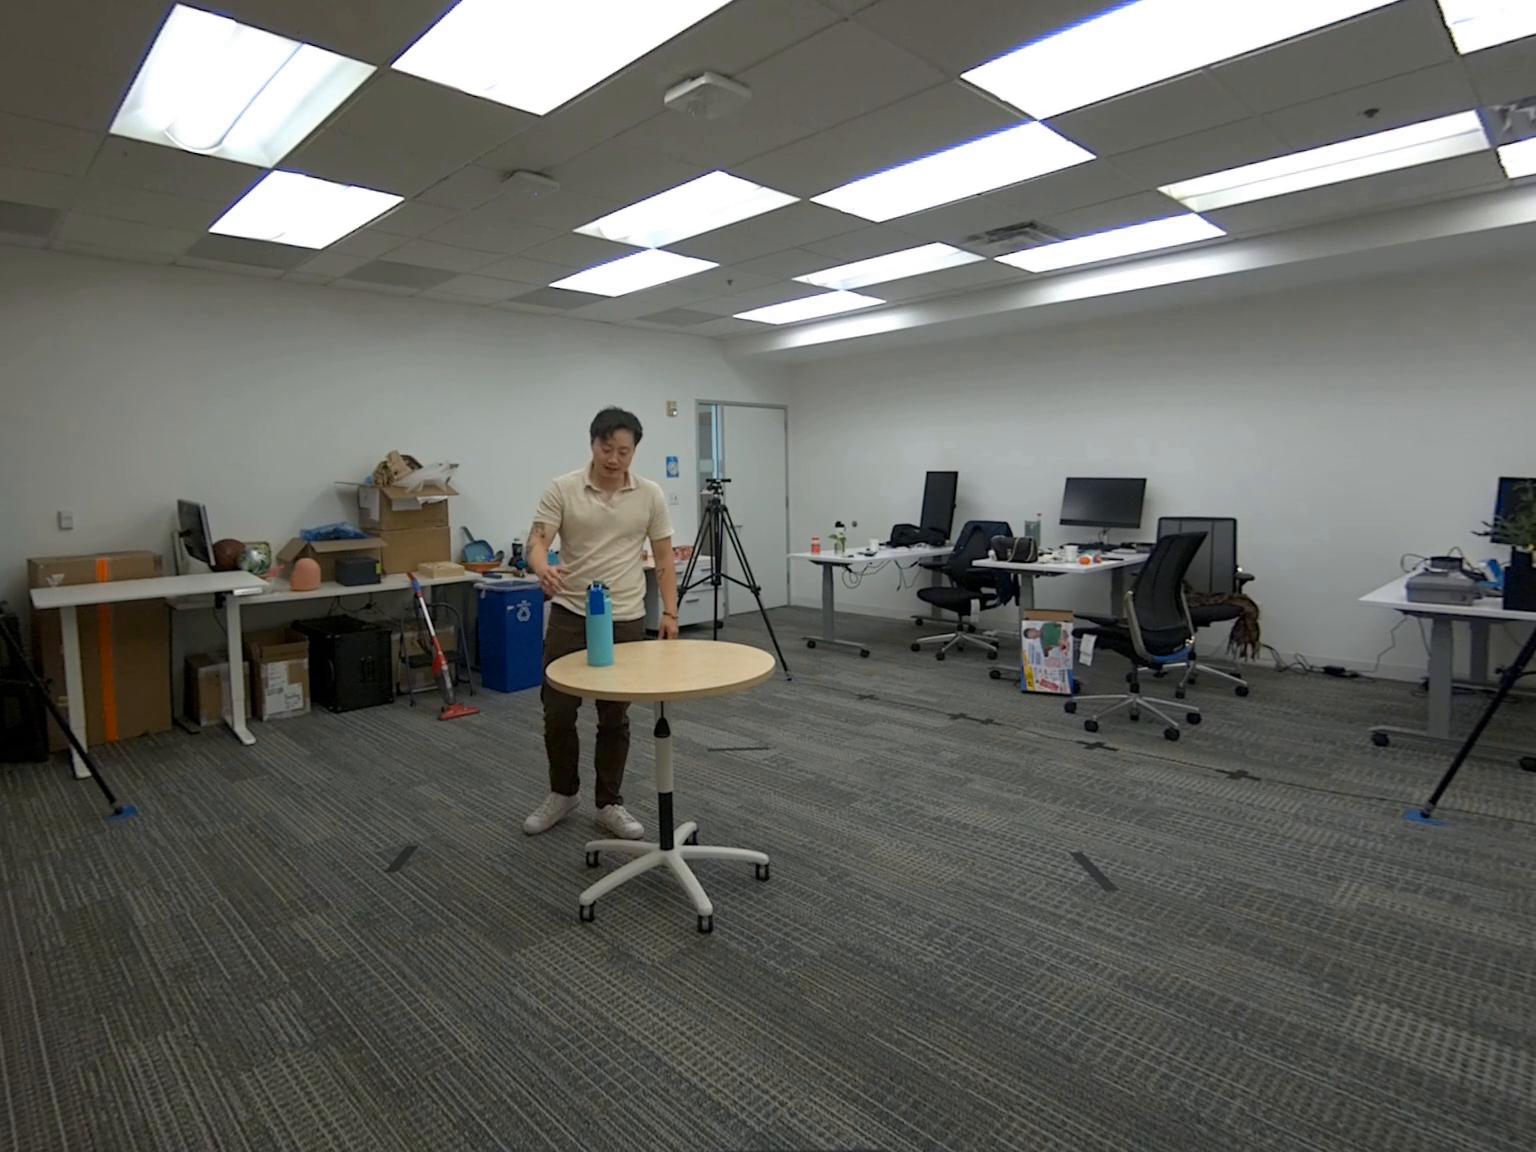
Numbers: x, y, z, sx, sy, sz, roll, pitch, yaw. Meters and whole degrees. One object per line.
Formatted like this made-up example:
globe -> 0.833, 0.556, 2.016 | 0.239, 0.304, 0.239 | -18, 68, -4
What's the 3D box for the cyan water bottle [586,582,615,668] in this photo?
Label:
cyan water bottle -> -0.572, 0.161, 2.883 | 0.092, 0.282, 0.093 | -1, 5, -2
